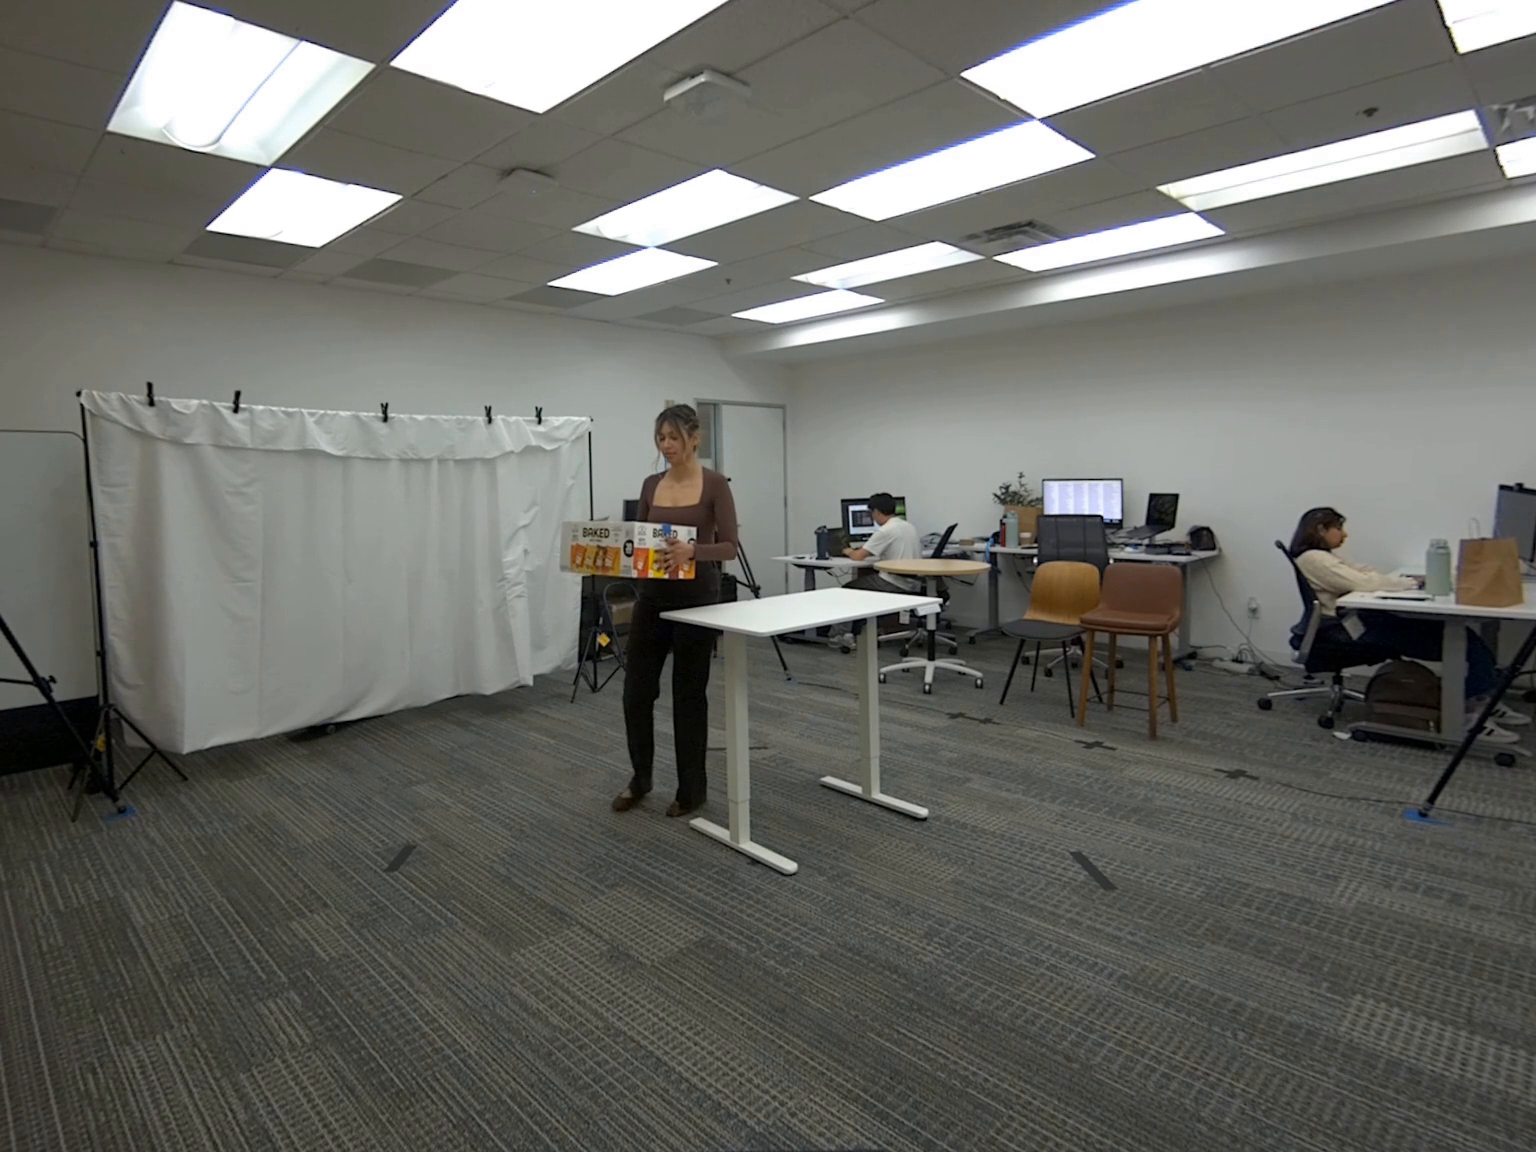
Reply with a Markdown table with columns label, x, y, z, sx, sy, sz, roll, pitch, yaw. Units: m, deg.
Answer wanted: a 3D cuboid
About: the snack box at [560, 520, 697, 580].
| label | x | y | z | sx | sy | sz | roll | pitch | yaw |
| --- | --- | --- | --- | --- | --- | --- | --- | --- | --- |
| snack box | -0.553 | -0.100 | 3.336 | 0.417 | 0.206 | 0.330 | 4 | 1 | 38 |
